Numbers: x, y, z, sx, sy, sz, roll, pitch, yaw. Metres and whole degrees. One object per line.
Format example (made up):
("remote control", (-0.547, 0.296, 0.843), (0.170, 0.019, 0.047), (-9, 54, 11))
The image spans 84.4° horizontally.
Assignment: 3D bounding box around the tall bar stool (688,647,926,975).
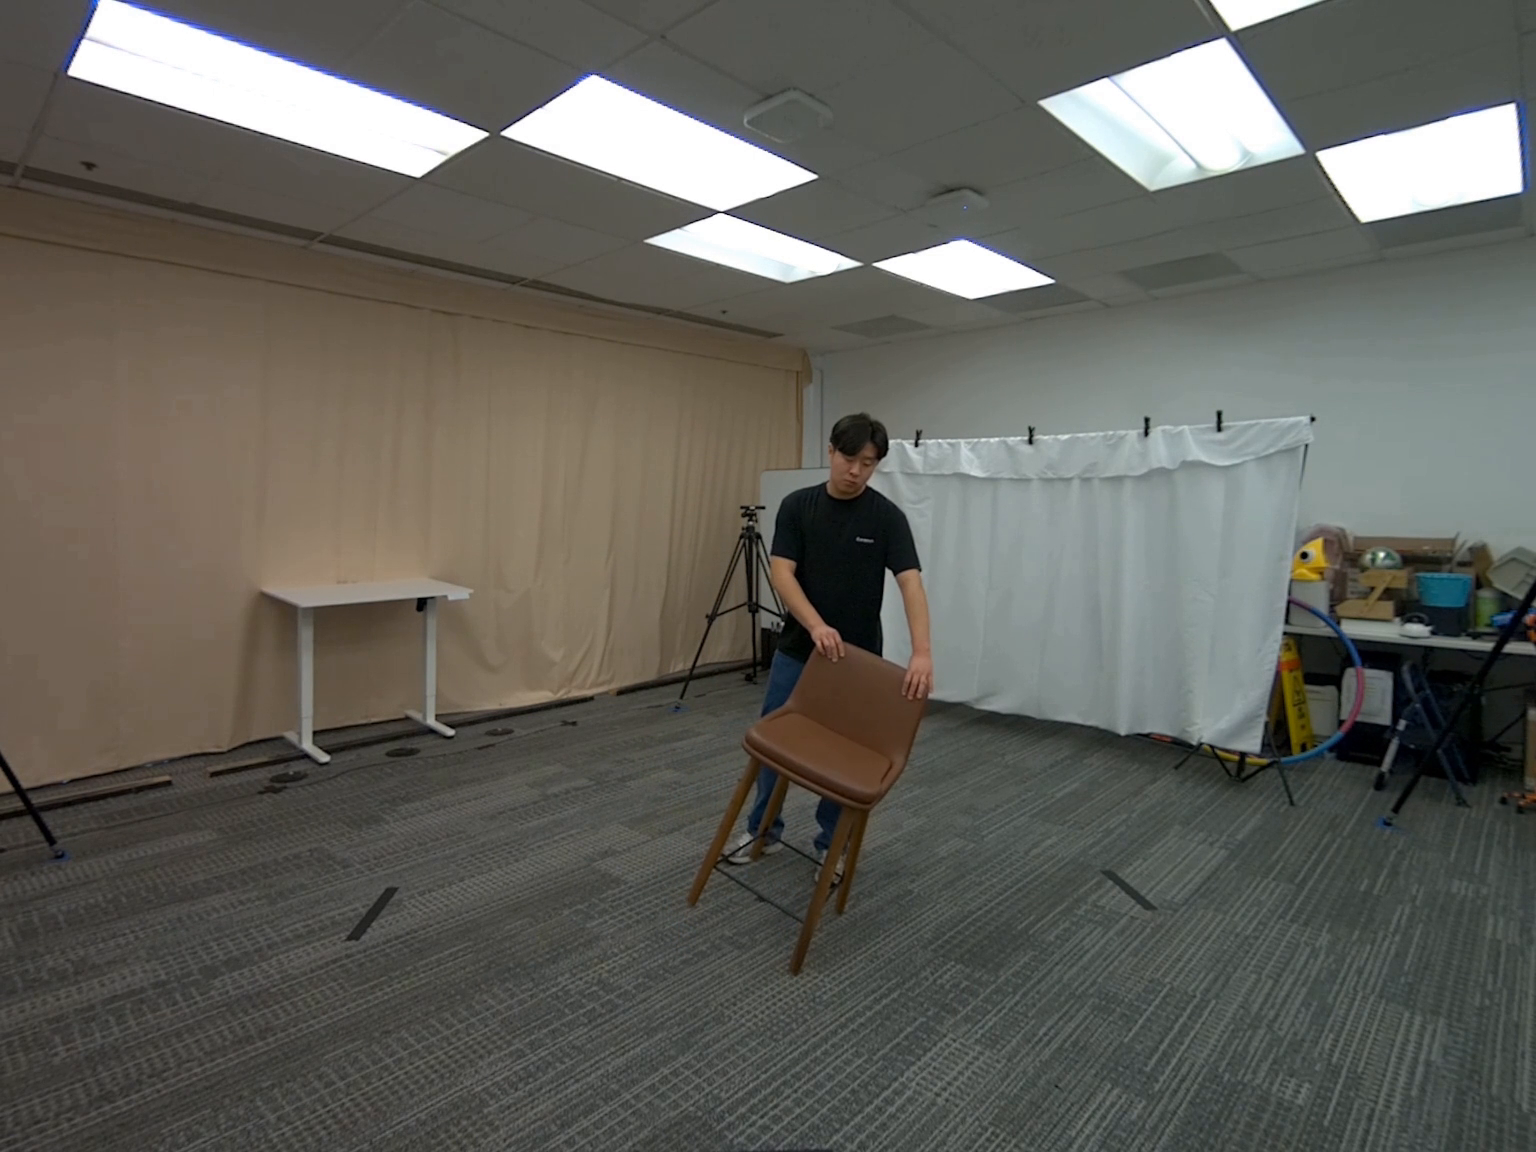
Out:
("tall bar stool", (0.145, 0.691, 2.699), (0.470, 0.887, 0.455), (23, 10, 25))
